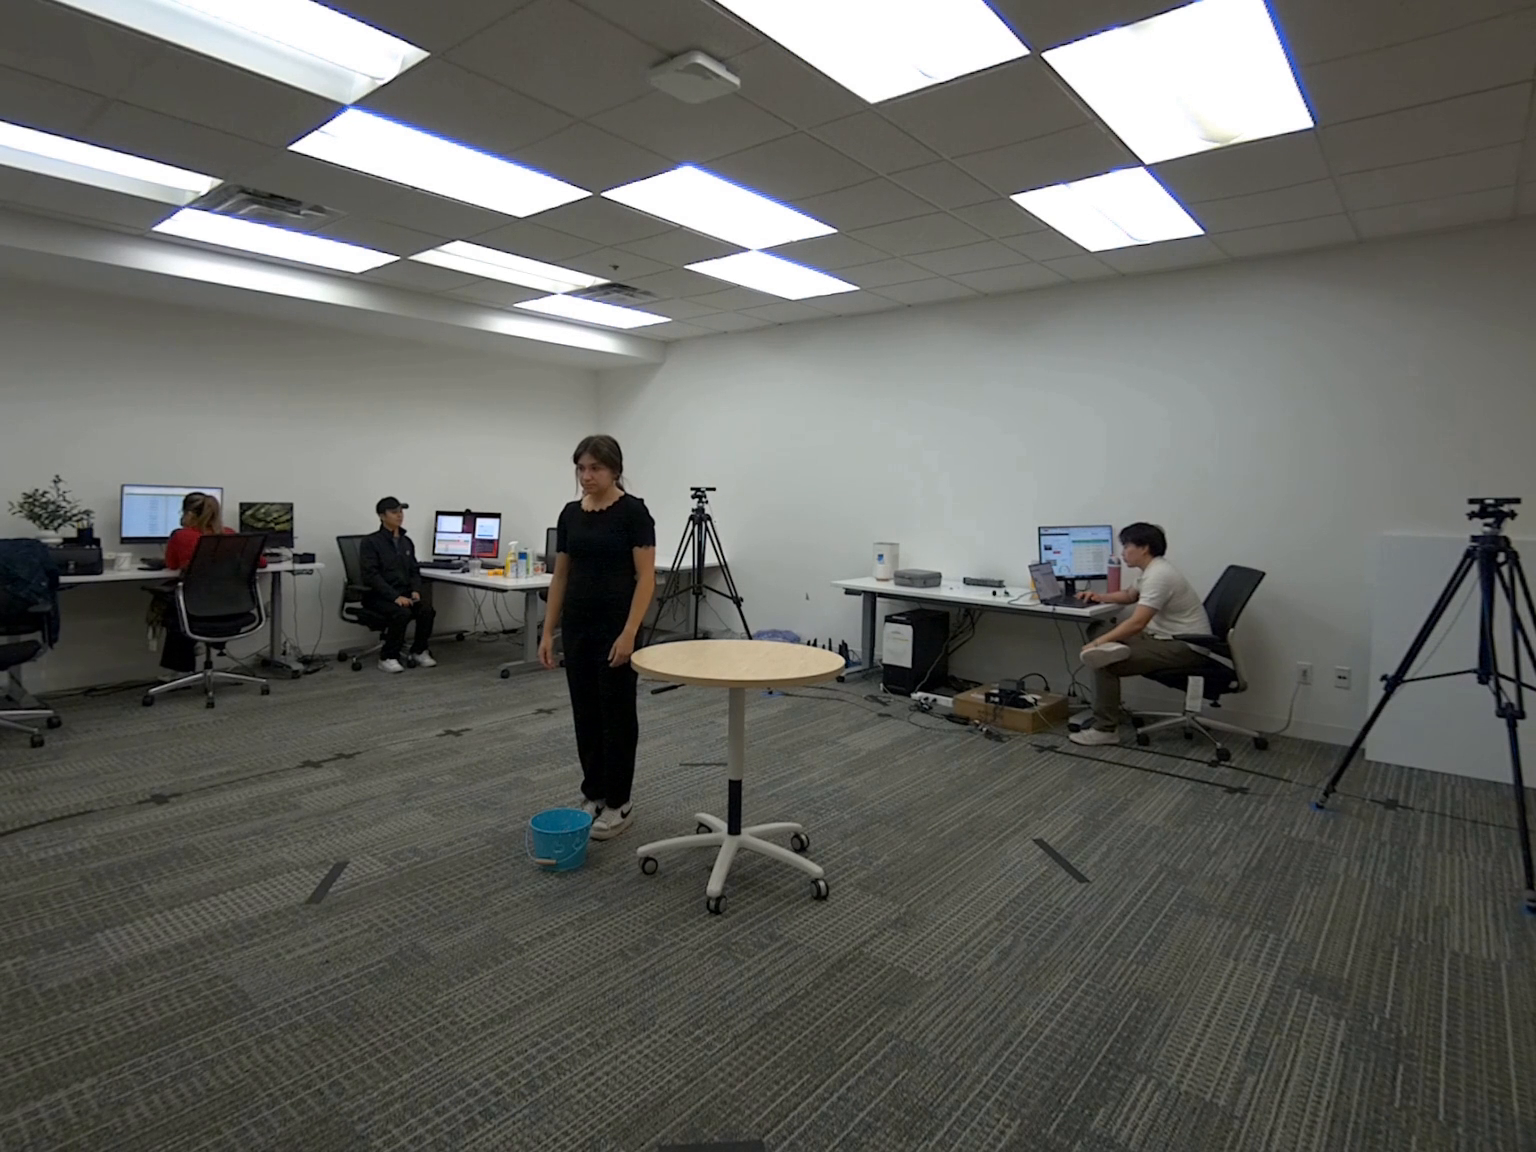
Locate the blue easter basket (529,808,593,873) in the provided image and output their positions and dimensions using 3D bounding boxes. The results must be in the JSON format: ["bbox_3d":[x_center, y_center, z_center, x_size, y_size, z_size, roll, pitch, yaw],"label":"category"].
[{"bbox_3d":[-0.783,0.973,3.157,0.243,0.155,0.245,1,5,-2],"label":"blue easter basket"}]
